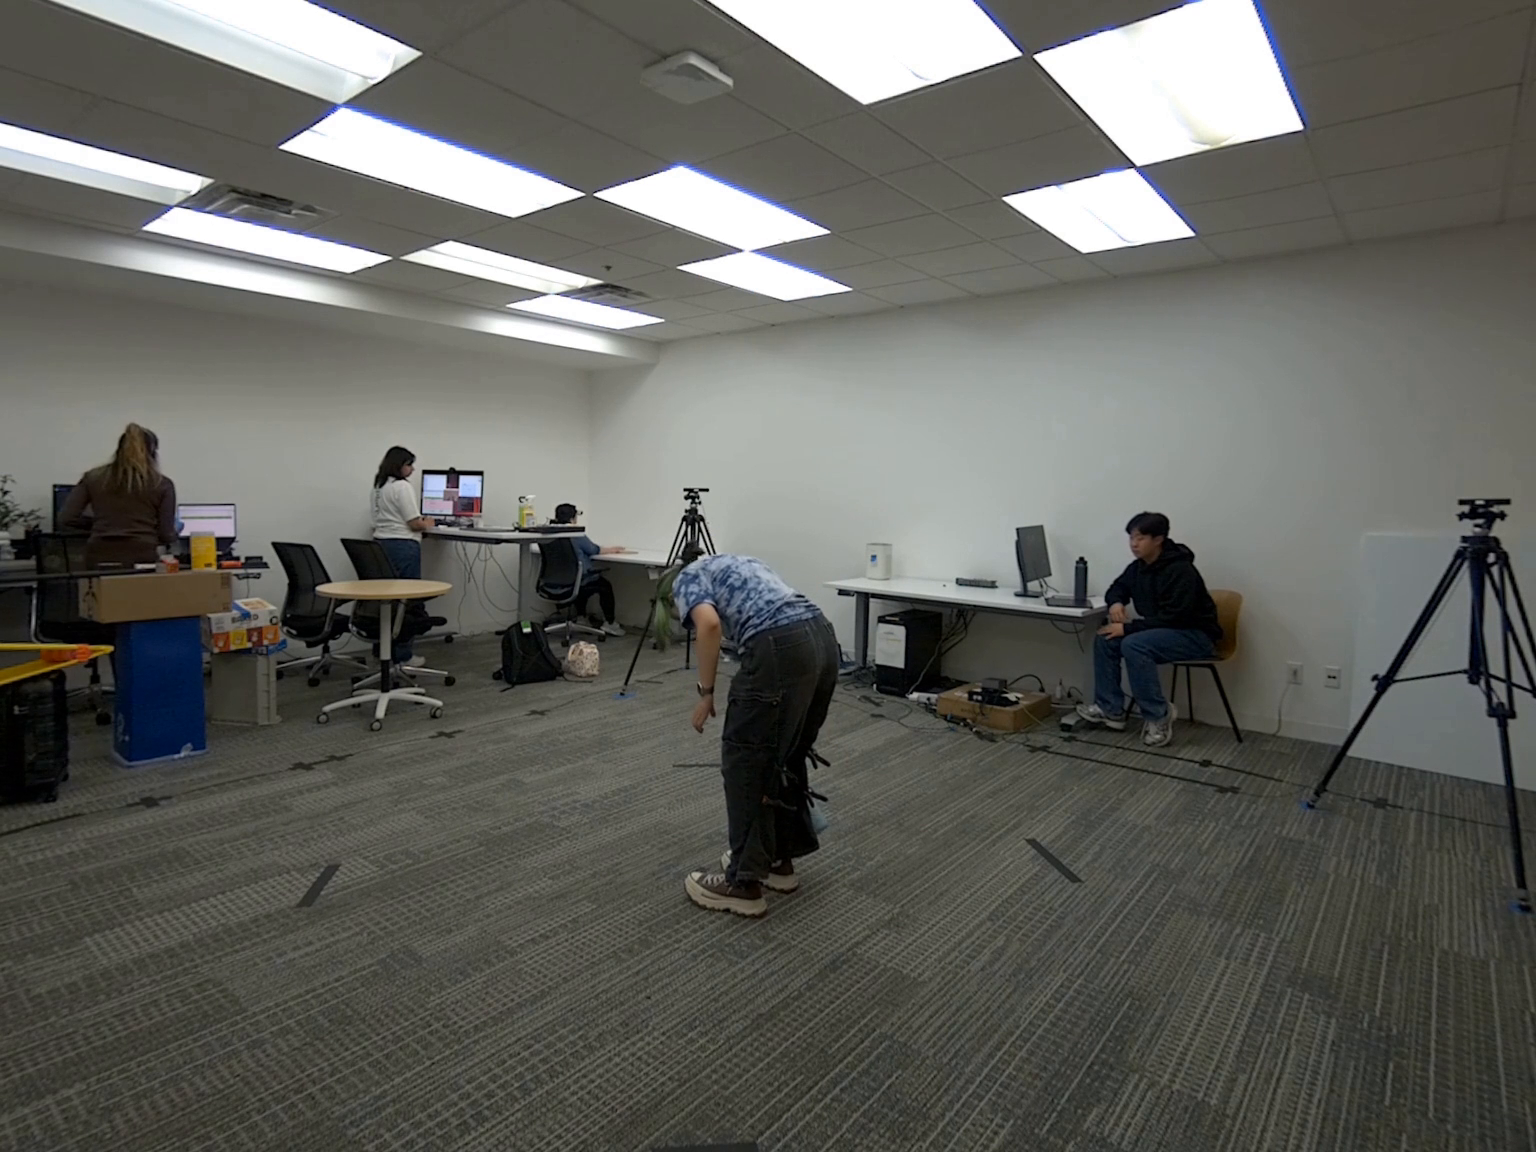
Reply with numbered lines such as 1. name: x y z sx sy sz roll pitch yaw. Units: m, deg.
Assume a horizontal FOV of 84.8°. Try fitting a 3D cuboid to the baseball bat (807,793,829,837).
1. baseball bat: 0.034 0.725 3.213 0.088 0.560 0.087 -29 -24 -16
